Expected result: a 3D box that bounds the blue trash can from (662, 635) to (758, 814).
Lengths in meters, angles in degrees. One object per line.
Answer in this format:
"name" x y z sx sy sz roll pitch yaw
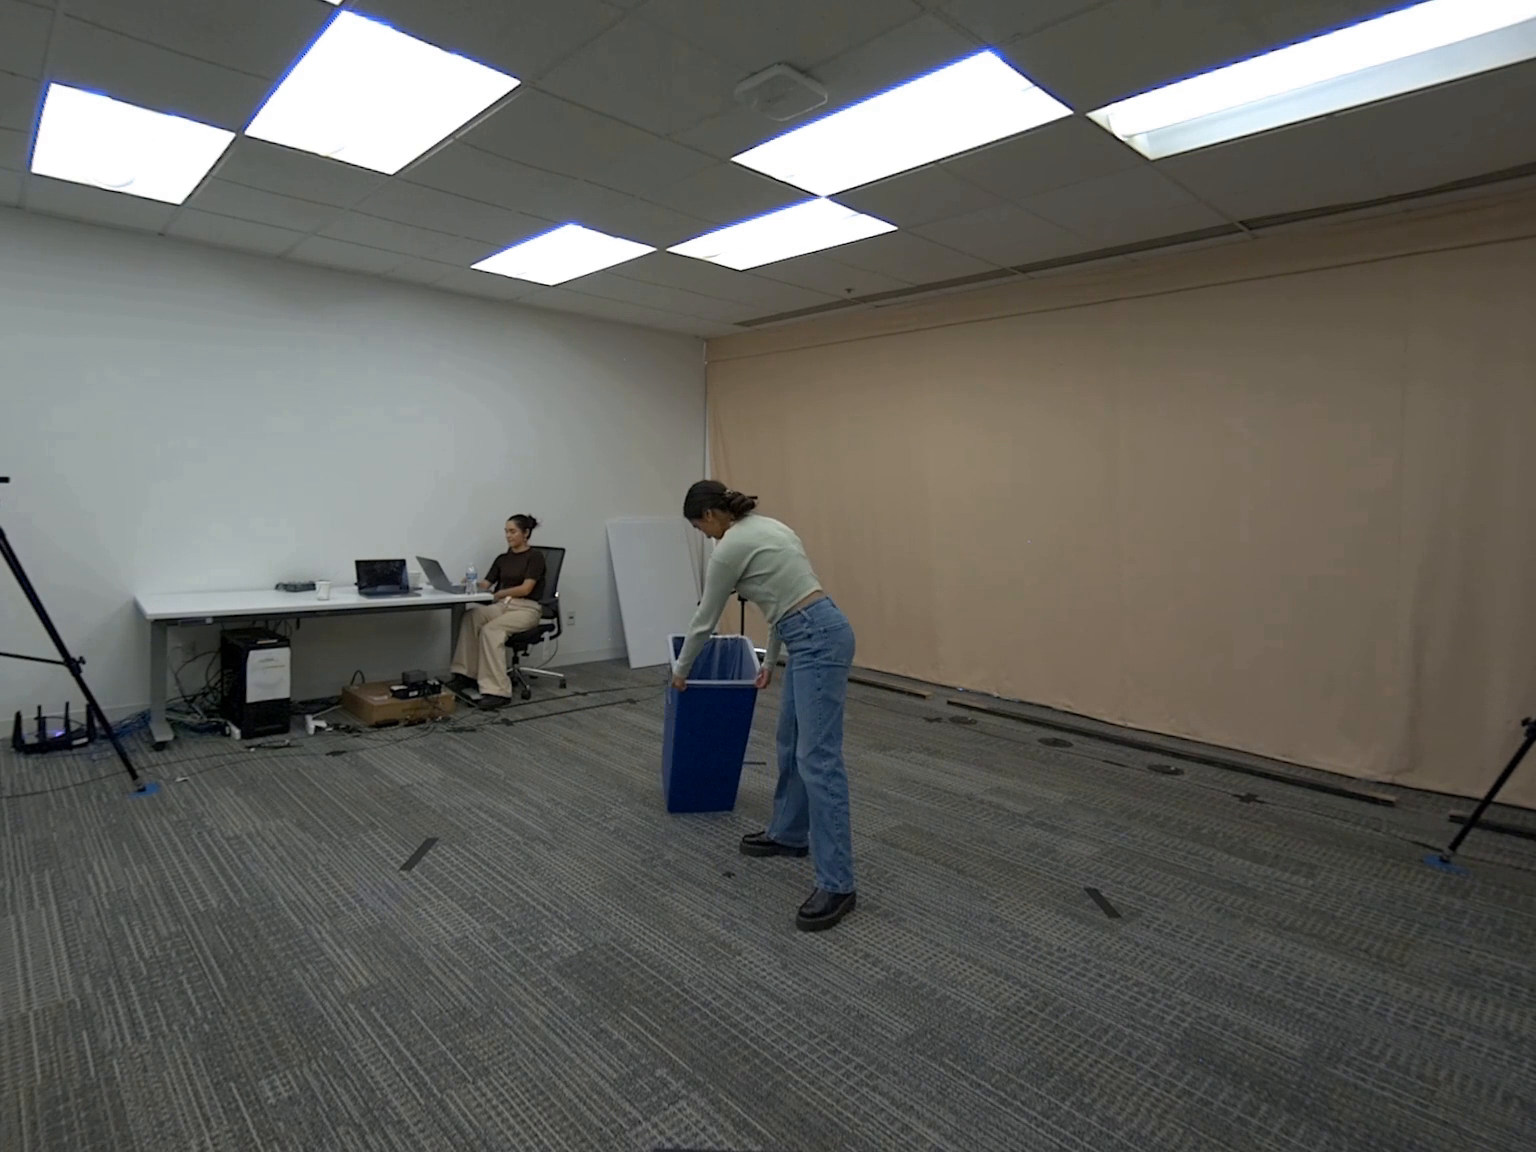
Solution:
"blue trash can" -0.283 0.663 3.692 0.374 0.703 0.383 1 26 -14
